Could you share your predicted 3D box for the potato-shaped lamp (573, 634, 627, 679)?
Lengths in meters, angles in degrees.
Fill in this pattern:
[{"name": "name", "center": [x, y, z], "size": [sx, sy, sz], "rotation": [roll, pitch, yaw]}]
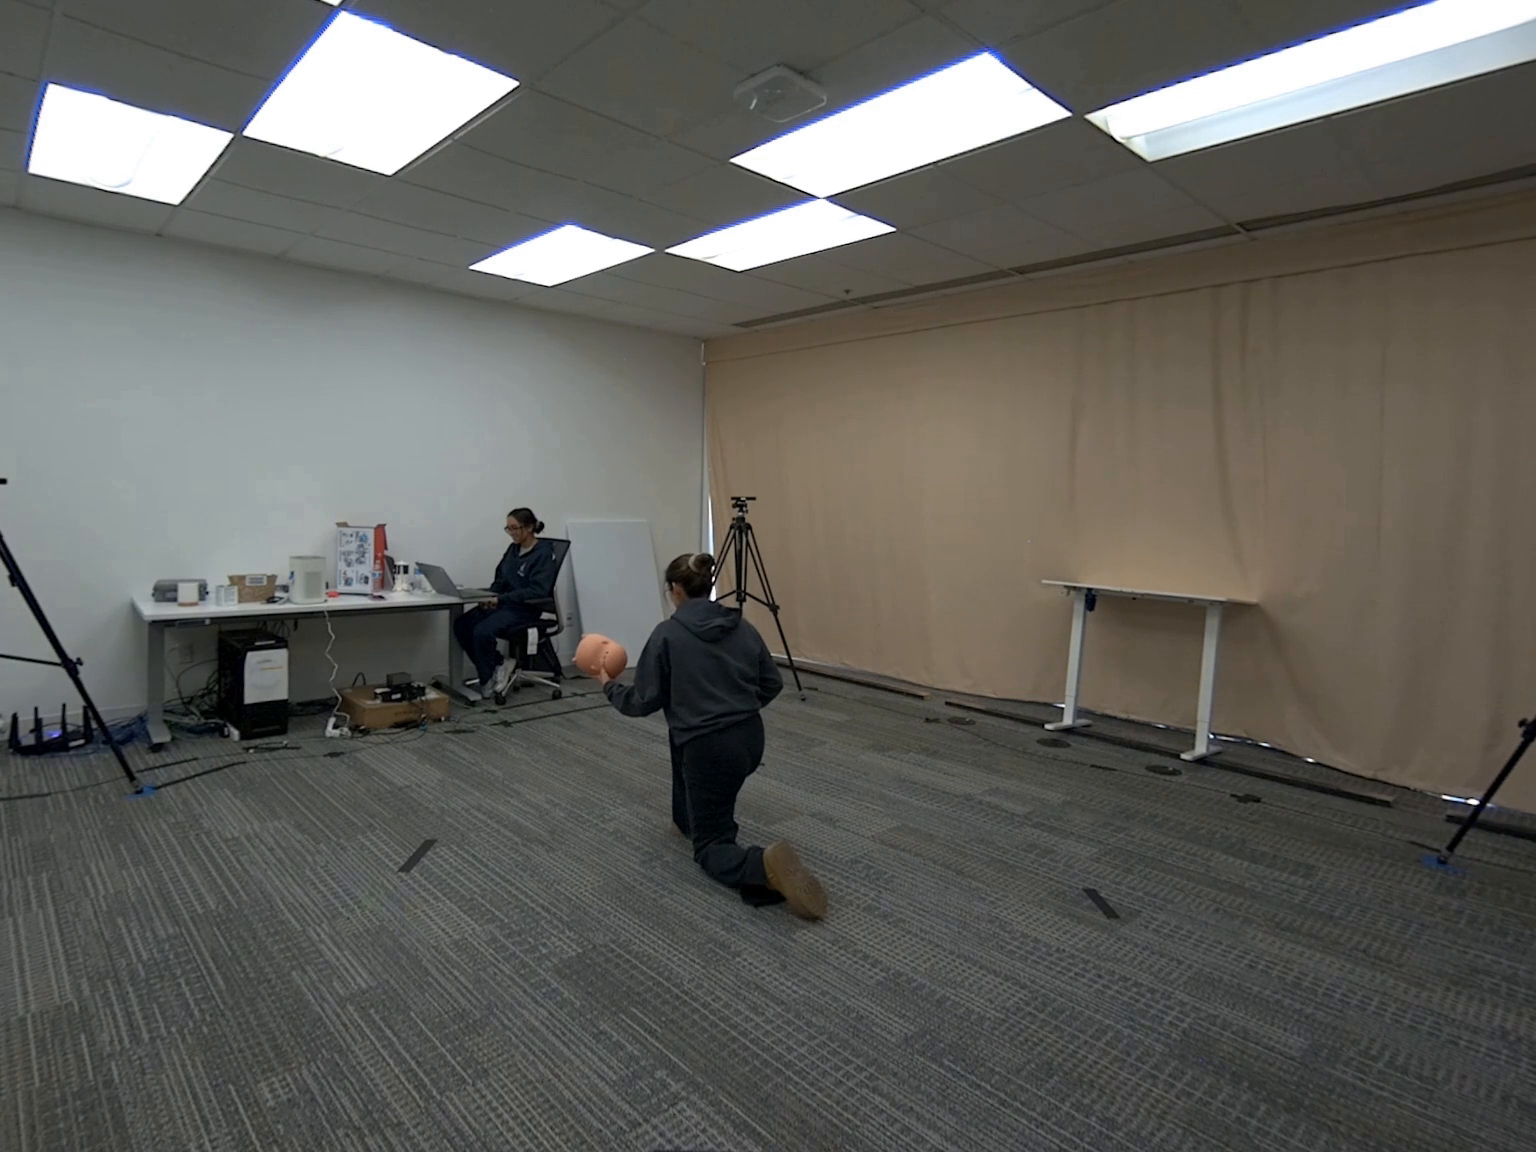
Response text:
[{"name": "potato-shaped lamp", "center": [-0.672, 0.327, 3.414], "size": [0.202, 0.166, 0.166], "rotation": [13, -18, 26]}]
